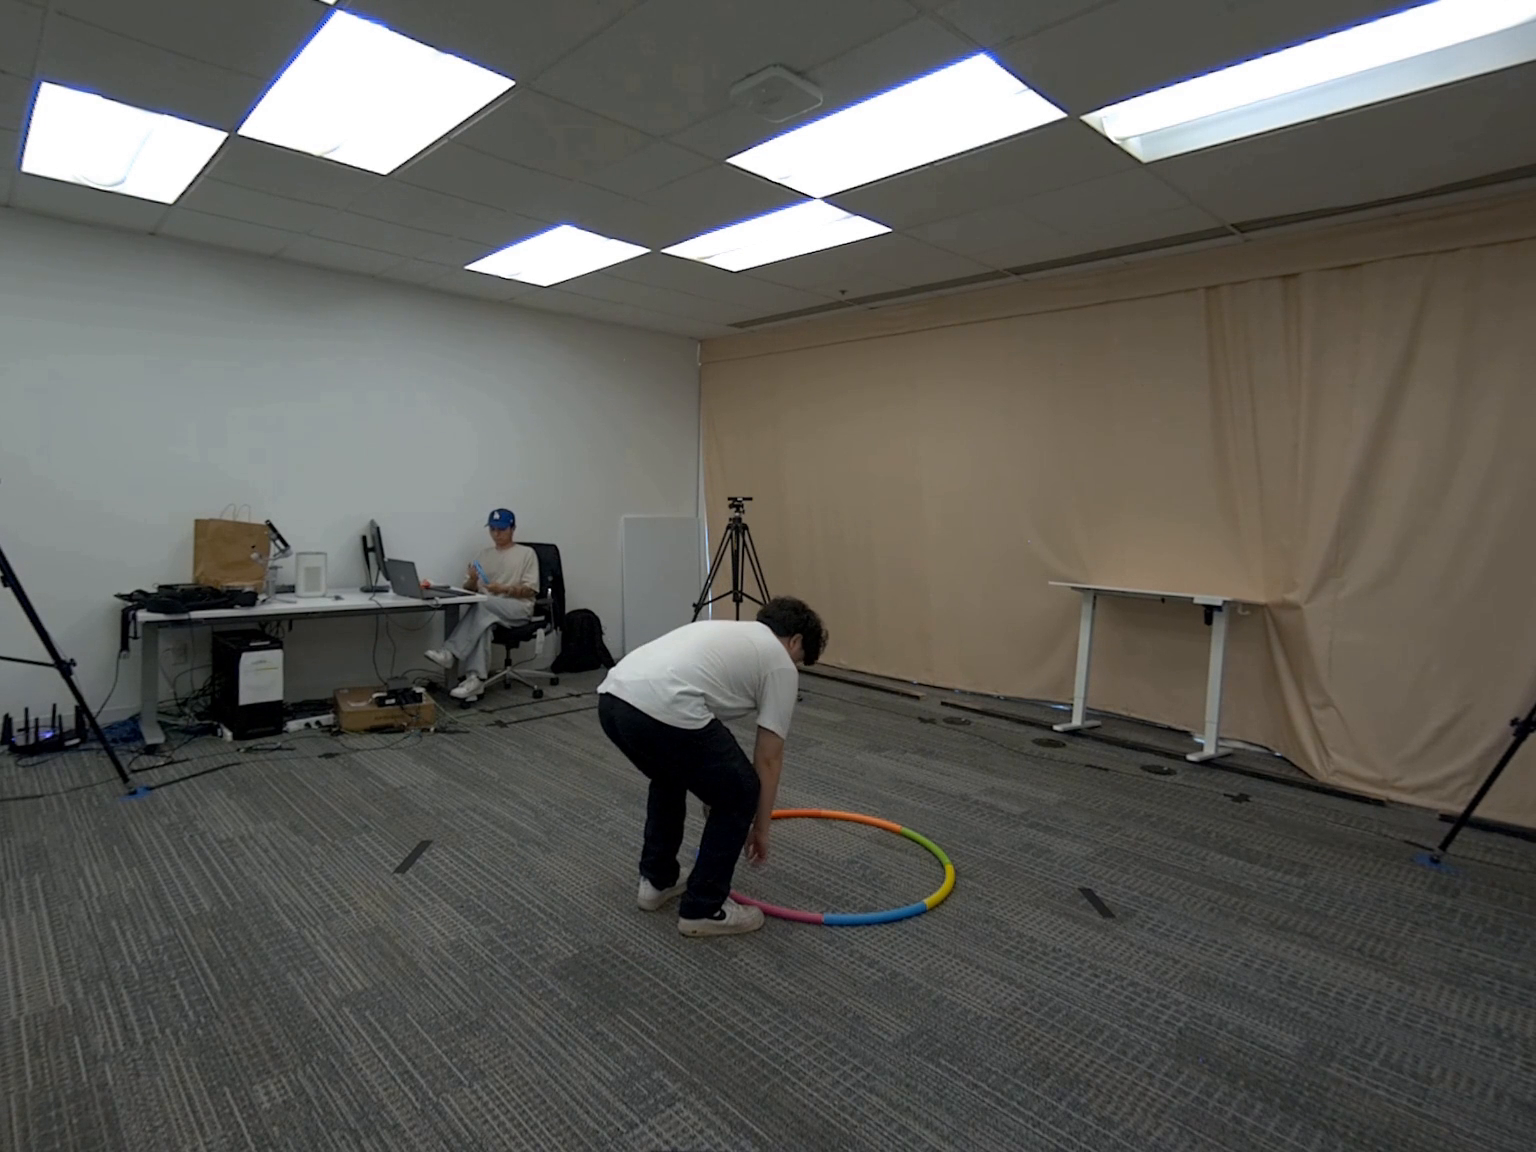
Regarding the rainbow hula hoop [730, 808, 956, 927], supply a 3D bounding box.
[{"bbox_3d":[0.204,1.078,3.240,0.985,0.051,0.989,1,5,-1],"label":"rainbow hula hoop"}]
